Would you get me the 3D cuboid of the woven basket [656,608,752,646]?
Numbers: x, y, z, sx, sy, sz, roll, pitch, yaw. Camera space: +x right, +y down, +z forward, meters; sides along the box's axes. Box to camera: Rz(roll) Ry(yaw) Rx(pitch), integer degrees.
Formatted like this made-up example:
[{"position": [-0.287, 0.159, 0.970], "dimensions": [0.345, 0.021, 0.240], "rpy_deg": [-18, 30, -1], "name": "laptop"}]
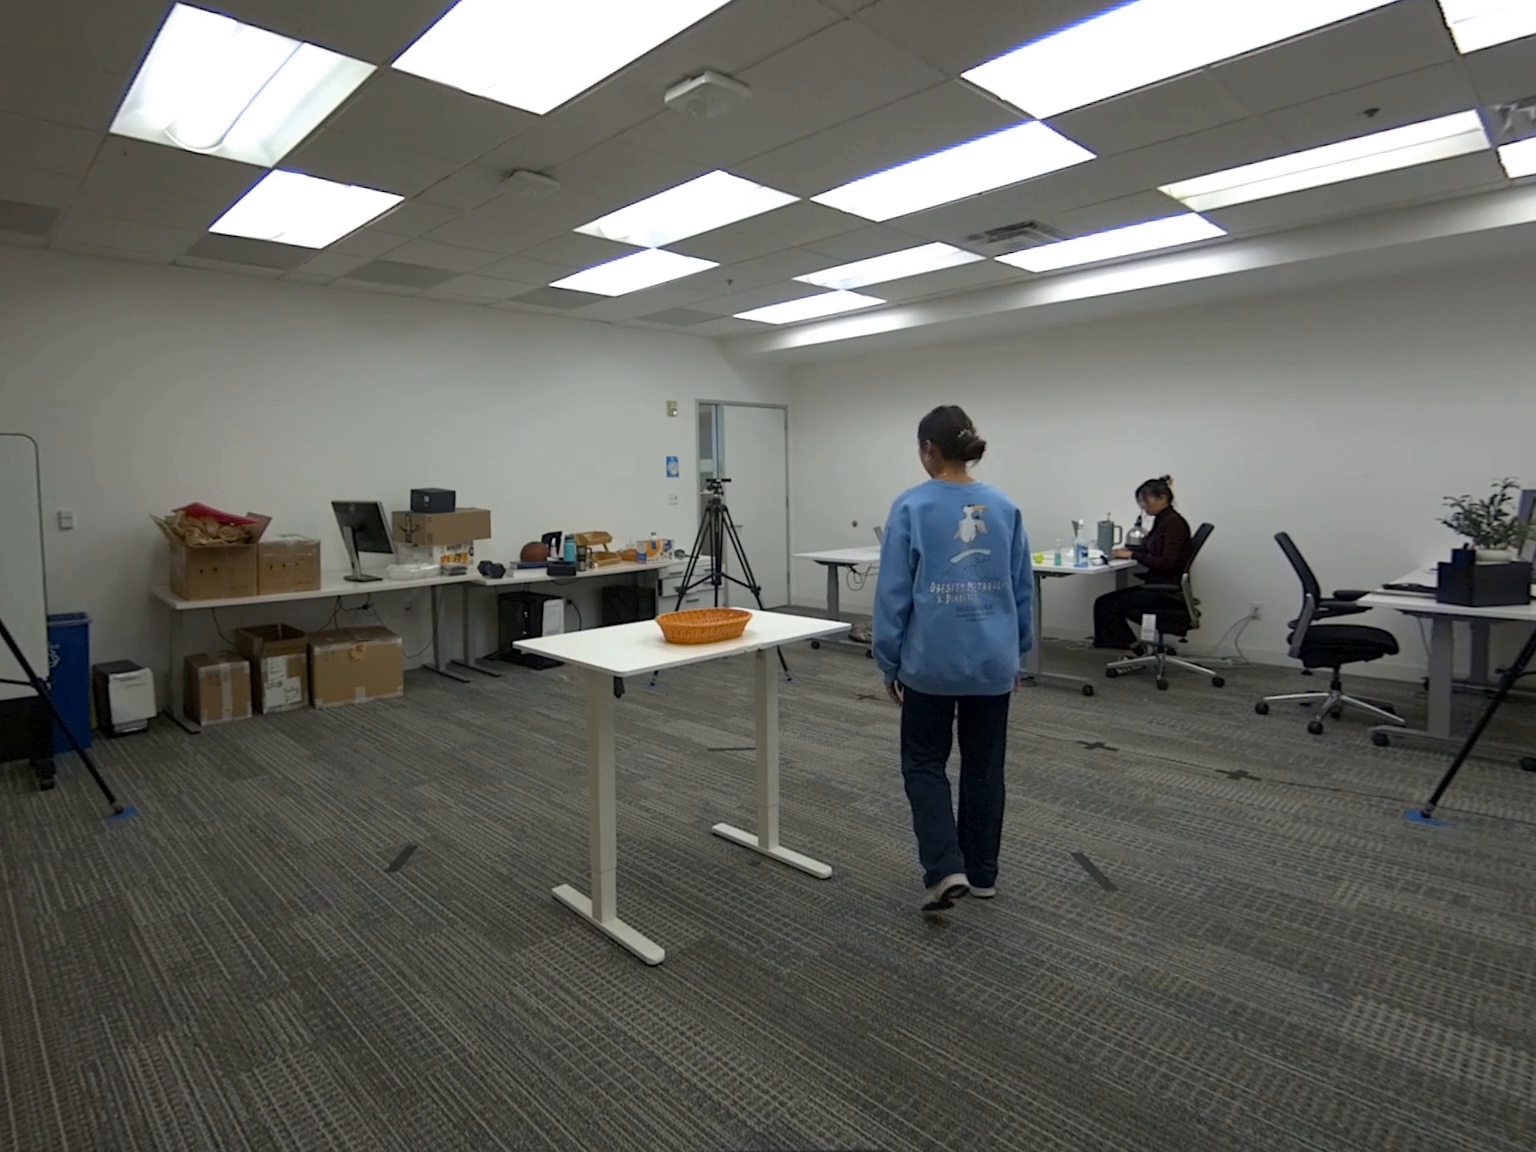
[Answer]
[{"position": [-0.190, 0.172, 2.784], "dimensions": [0.341, 0.073, 0.260], "rpy_deg": [-7, 9, -40], "name": "woven basket"}]
